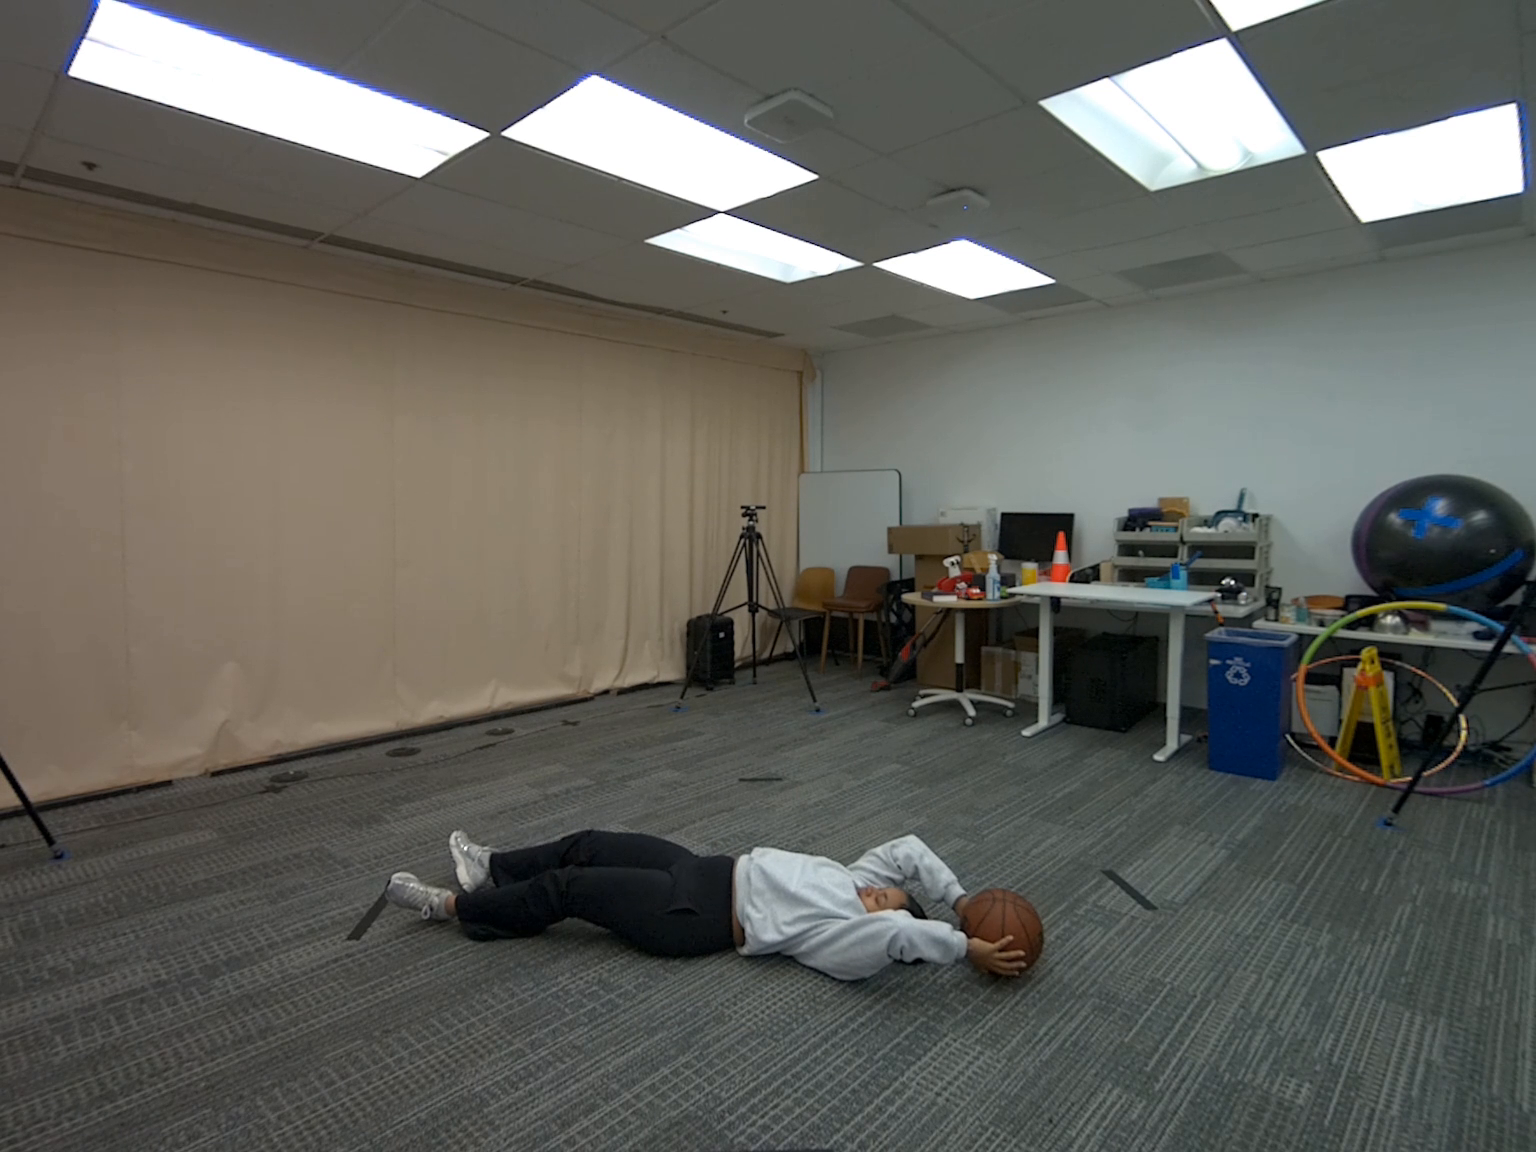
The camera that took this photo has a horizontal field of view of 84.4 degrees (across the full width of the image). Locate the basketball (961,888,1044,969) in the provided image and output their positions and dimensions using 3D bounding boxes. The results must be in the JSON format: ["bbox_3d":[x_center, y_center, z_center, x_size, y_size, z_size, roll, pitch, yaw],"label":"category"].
[{"bbox_3d":[0.702,1.057,2.517,0.236,0.236,0.236,2,0,-2],"label":"basketball"}]
